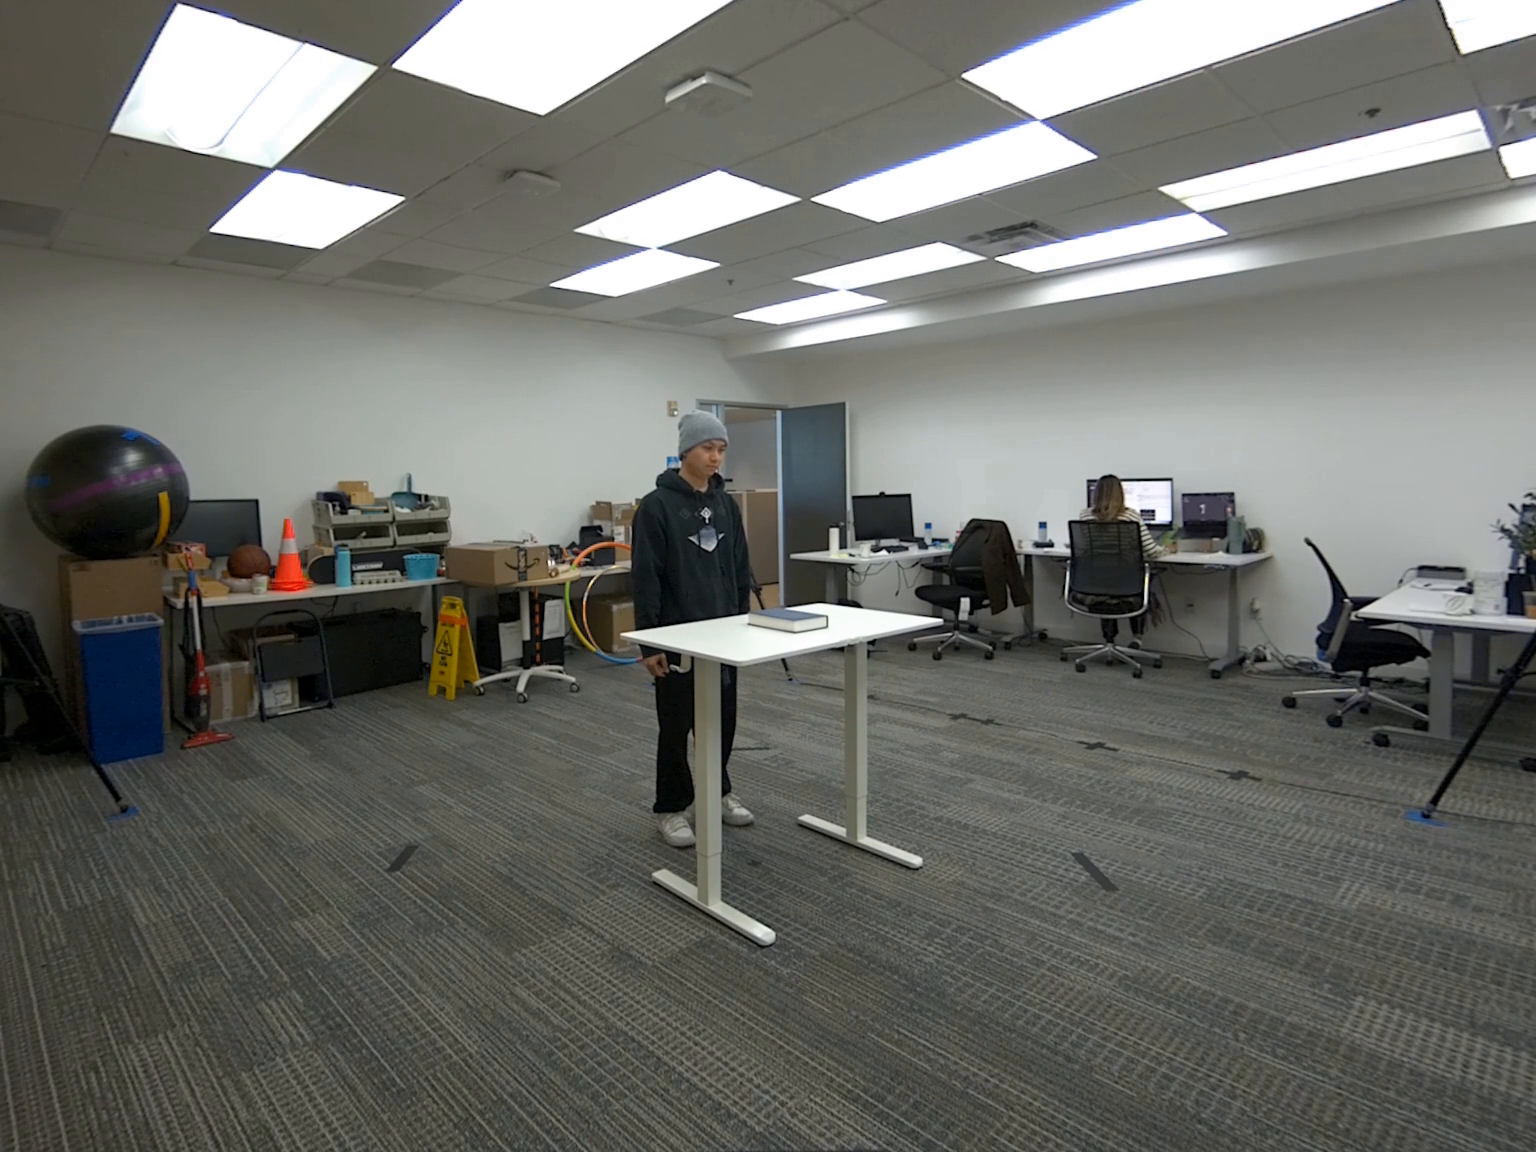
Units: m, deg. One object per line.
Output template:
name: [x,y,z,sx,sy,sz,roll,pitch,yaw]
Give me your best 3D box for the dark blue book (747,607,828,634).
dark blue book: [0.077,0.157,2.970,0.159,0.045,0.253,-6,8,-41]
